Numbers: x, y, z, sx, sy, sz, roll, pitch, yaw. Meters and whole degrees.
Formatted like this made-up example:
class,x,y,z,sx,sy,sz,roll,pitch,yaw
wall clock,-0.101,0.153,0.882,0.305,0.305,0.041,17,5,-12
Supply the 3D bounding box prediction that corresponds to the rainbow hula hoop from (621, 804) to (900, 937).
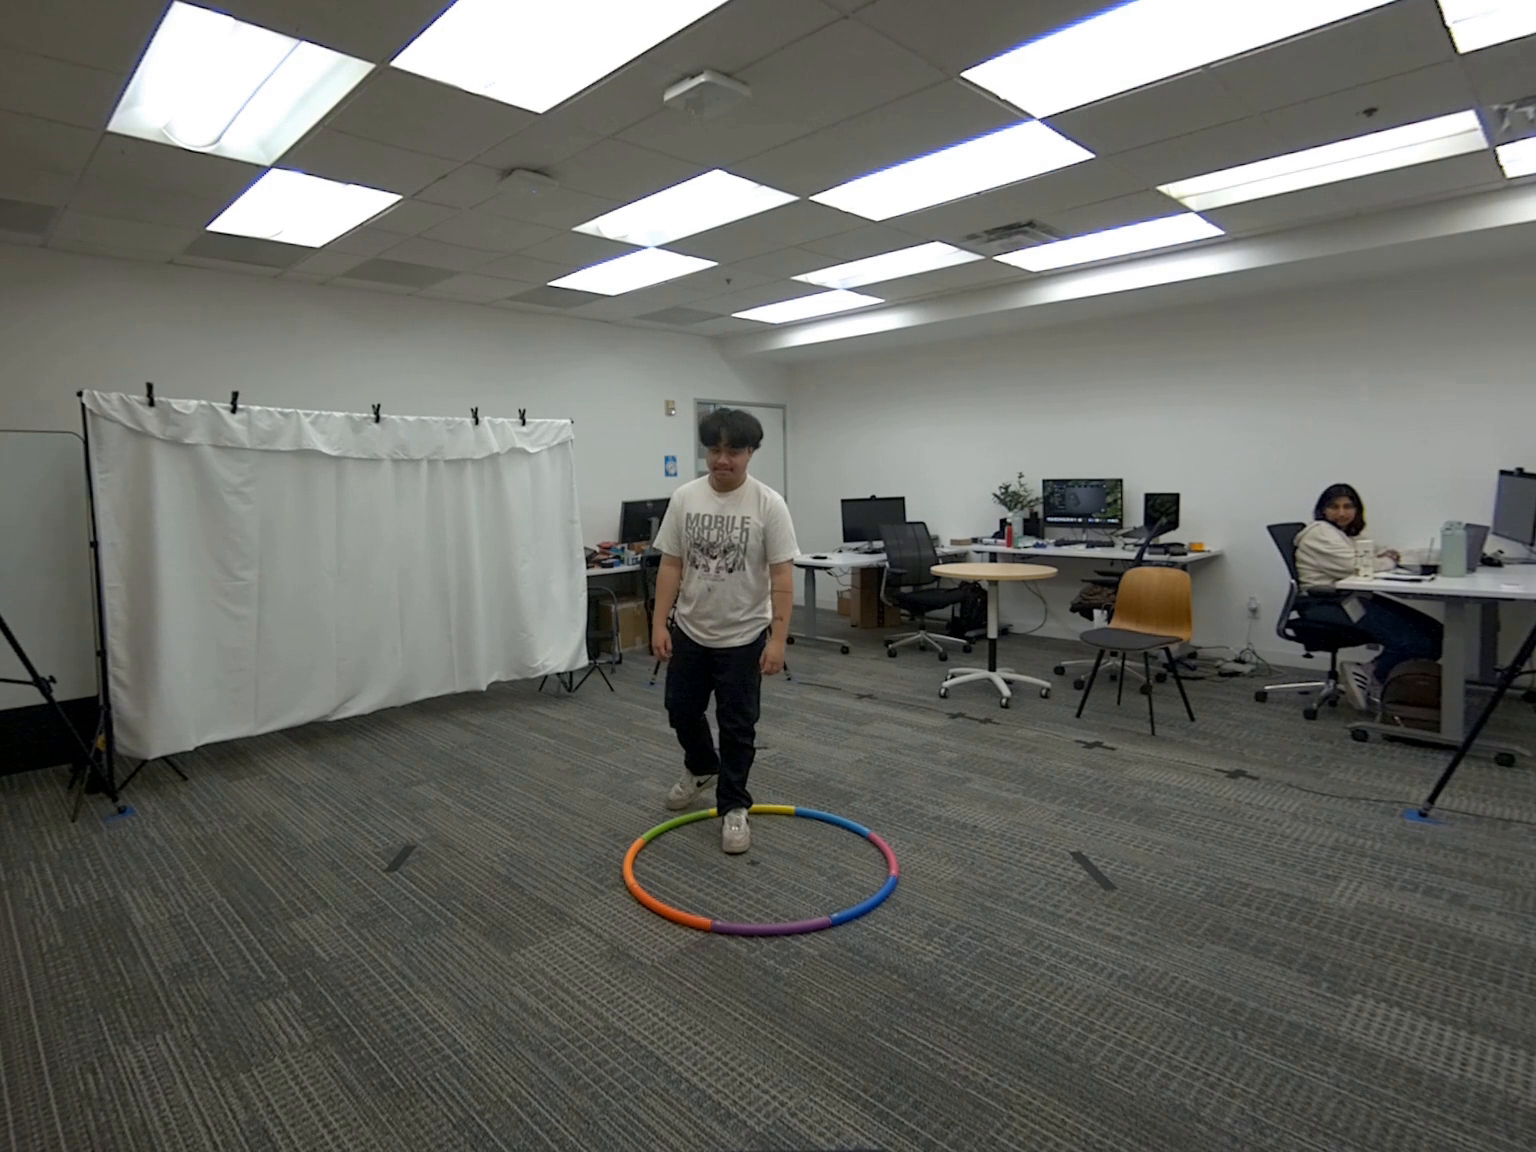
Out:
class,x,y,z,sx,sy,sz,roll,pitch,yaw
rainbow hula hoop,-0.028,1.021,3.089,0.985,0.051,0.991,-1,6,-2
